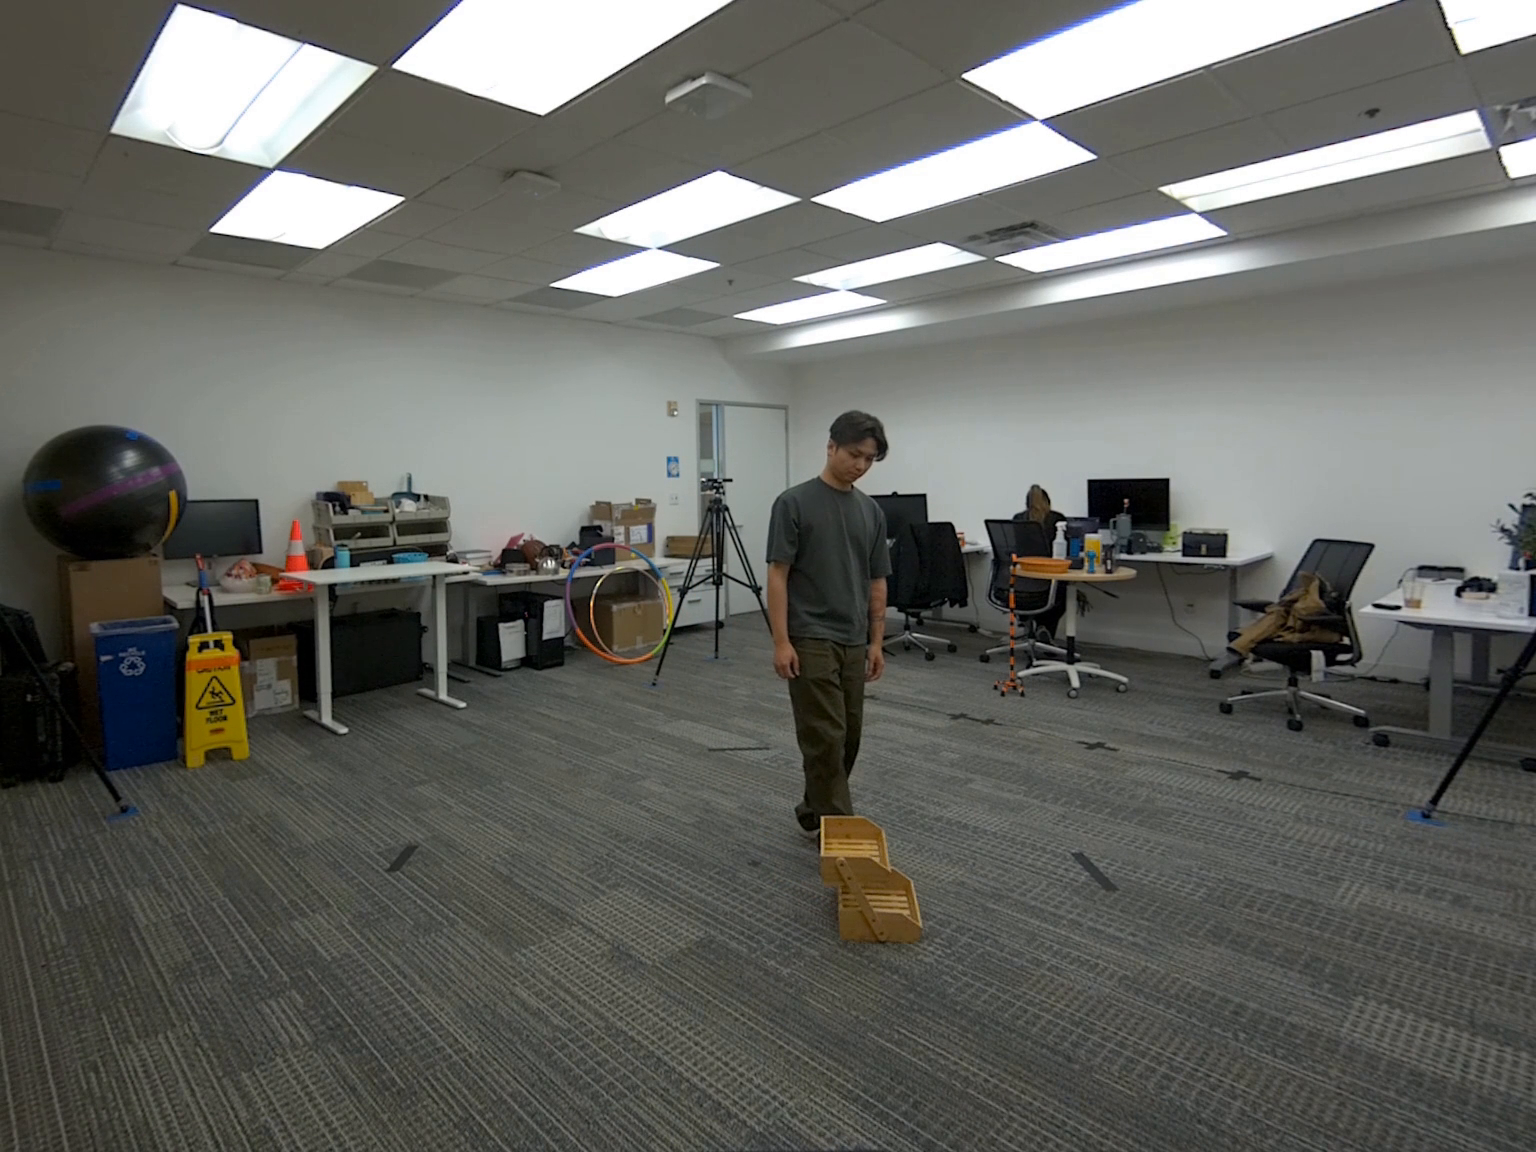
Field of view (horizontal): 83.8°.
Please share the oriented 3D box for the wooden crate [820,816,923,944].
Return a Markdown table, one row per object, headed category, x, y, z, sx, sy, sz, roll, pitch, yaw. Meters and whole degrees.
| category | x | y | z | sx | sy | sz | roll | pitch | yaw |
| --- | --- | --- | --- | --- | --- | --- | --- | --- | --- |
| wooden crate | 0.337 | 0.956 | 2.711 | 0.304 | 0.272 | 0.324 | 0 | 5 | 4 |
